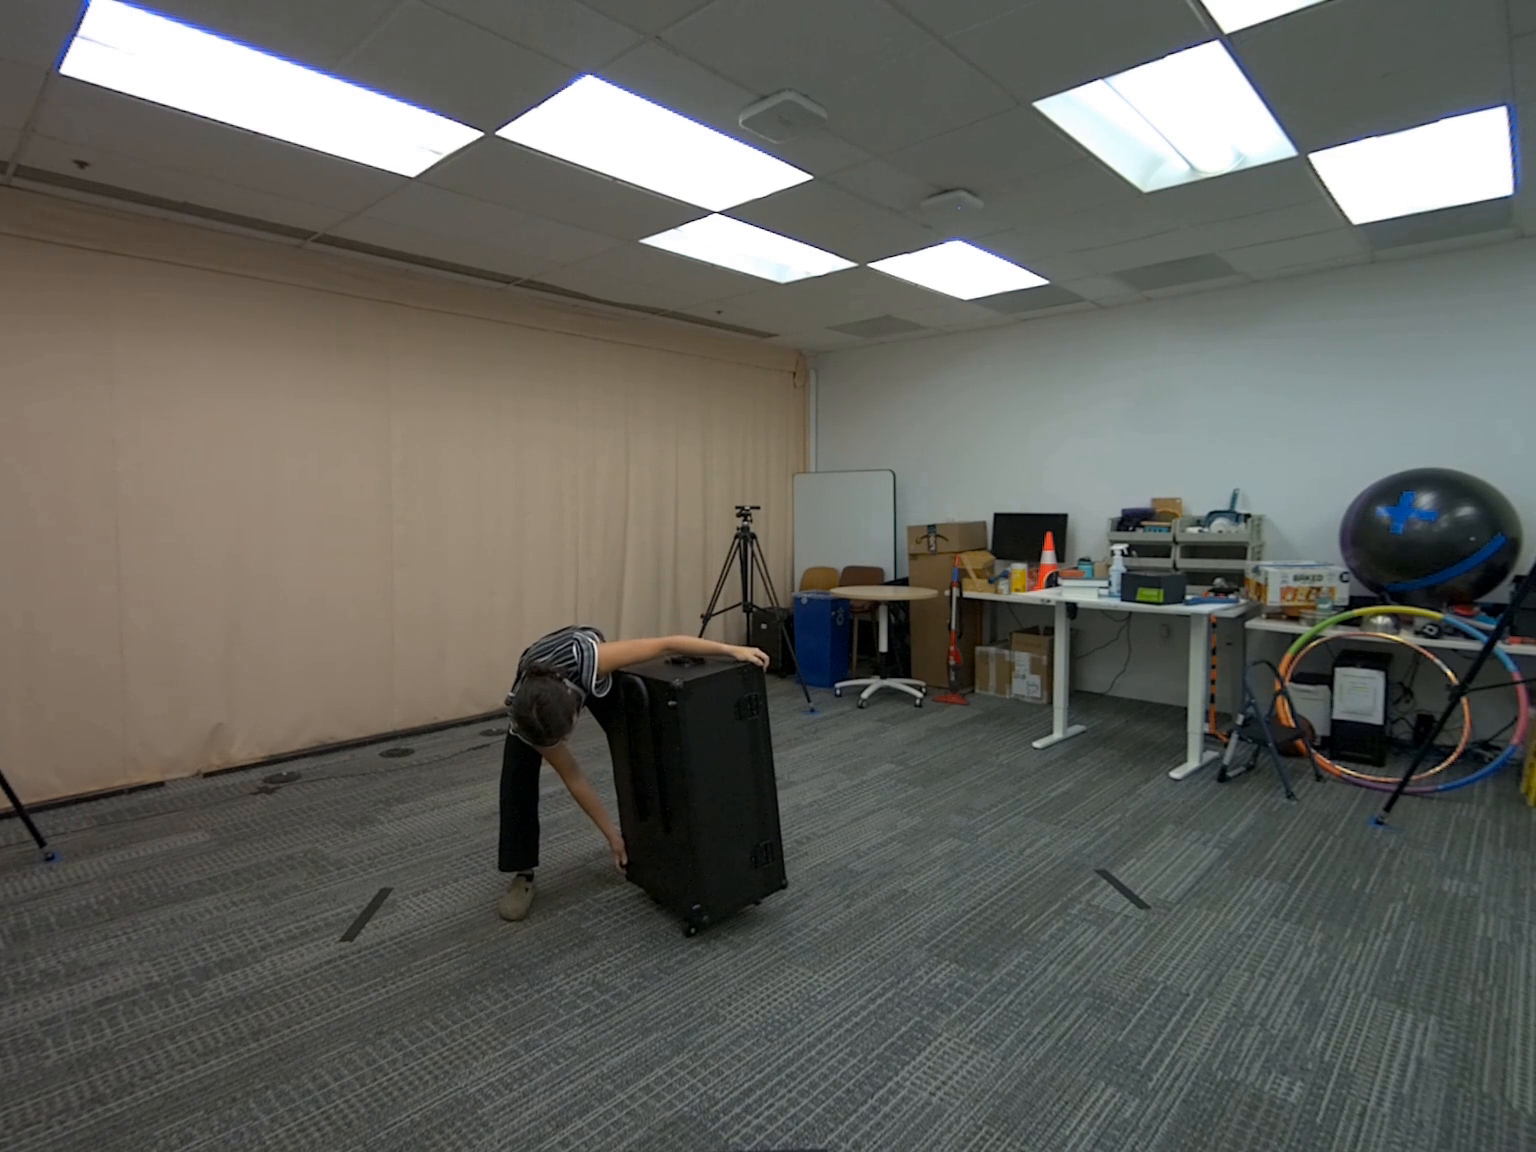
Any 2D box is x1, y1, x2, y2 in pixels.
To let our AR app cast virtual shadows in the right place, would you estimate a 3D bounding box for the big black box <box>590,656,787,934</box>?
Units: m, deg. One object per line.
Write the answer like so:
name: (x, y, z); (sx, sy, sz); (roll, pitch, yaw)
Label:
big black box: (-0.255, 0.719, 2.883); (0.386, 0.858, 0.537); (-11, 7, -37)
